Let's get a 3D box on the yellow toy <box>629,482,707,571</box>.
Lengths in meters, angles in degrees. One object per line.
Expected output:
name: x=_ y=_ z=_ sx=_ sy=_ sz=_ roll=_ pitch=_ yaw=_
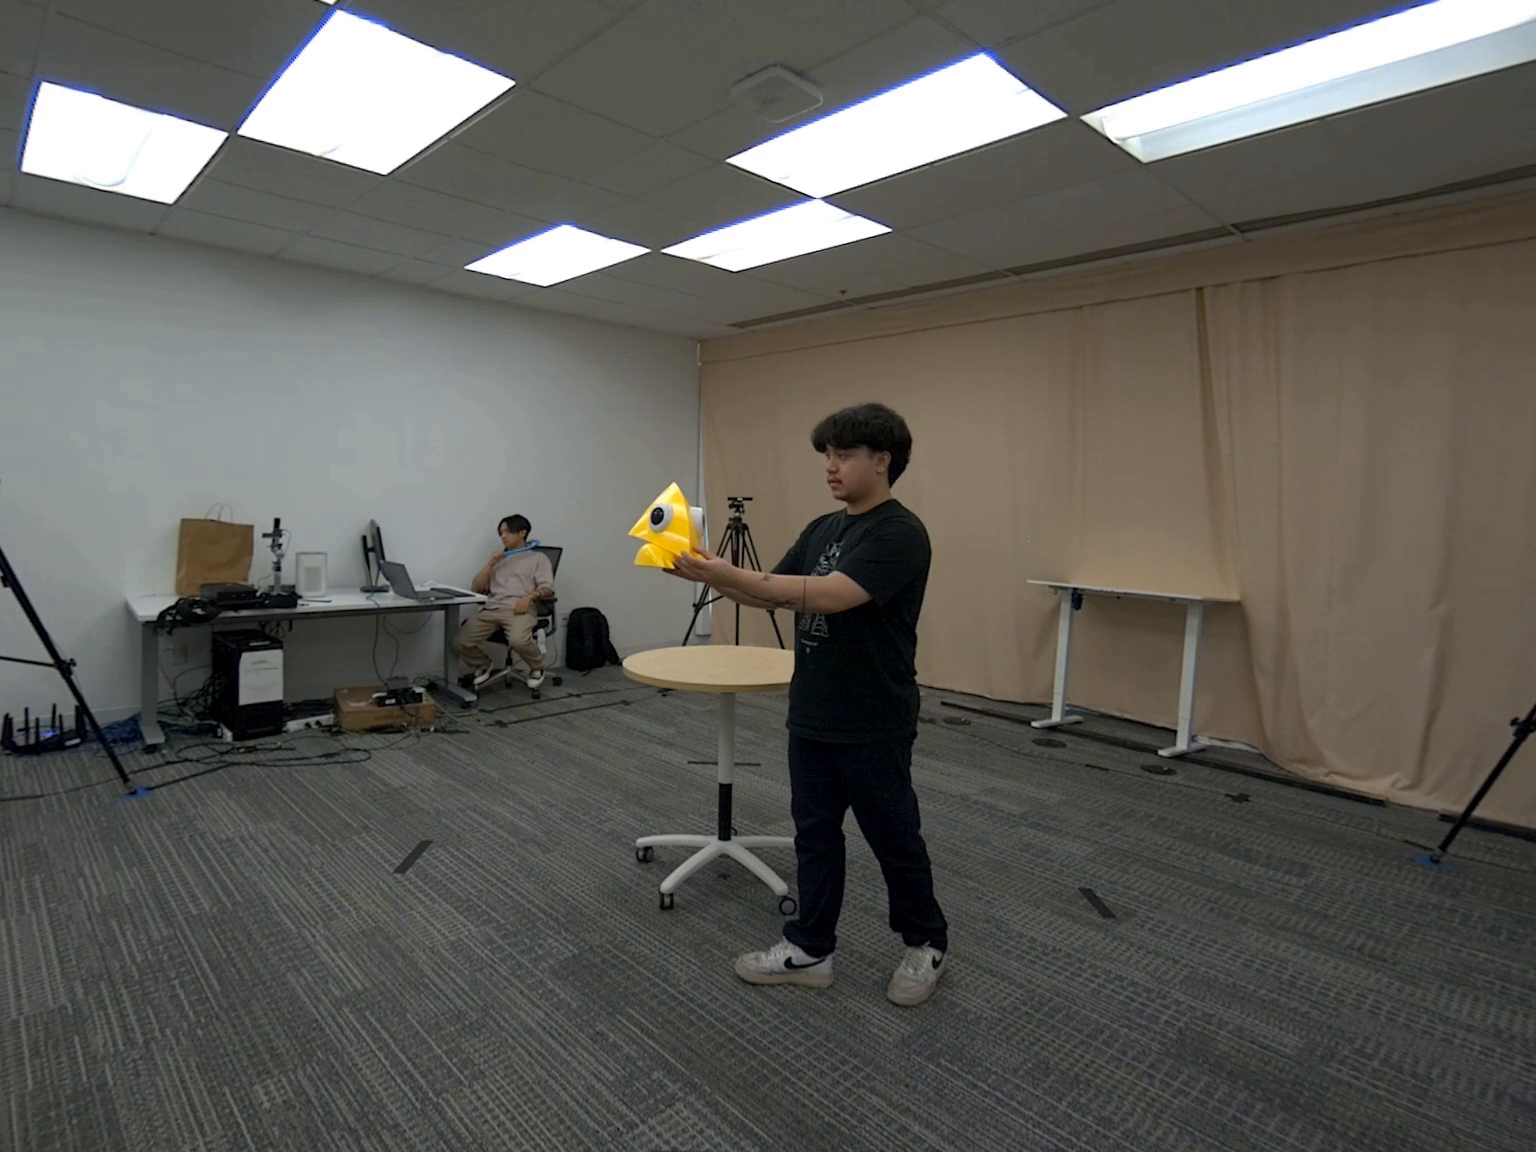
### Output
yellow toy: x=-0.233 y=-0.130 z=2.184 sx=0.201 sy=0.231 sz=0.197 roll=6 pitch=-2 yaw=-26
